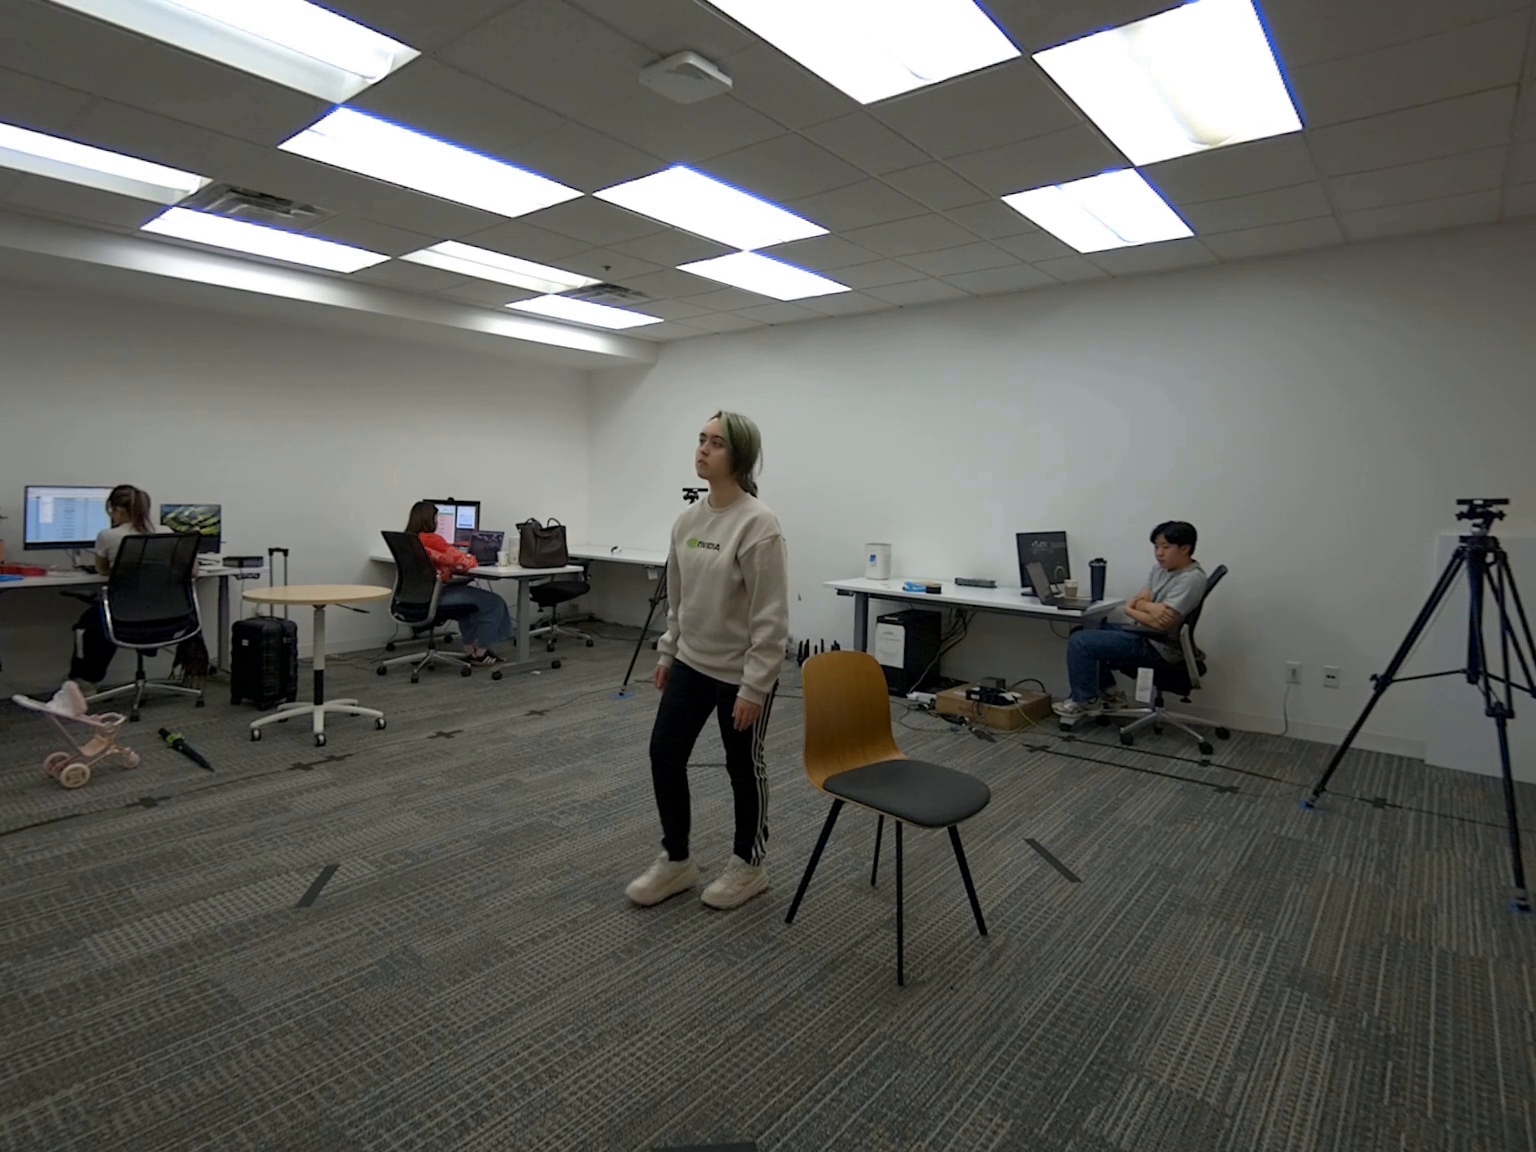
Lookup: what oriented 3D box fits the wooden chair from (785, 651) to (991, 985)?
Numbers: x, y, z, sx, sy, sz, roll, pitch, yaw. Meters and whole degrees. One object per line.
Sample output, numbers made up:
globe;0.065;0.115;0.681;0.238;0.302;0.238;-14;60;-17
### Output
wooden chair;0.383;0.696;2.677;0.463;0.878;0.539;-1;-1;-43
